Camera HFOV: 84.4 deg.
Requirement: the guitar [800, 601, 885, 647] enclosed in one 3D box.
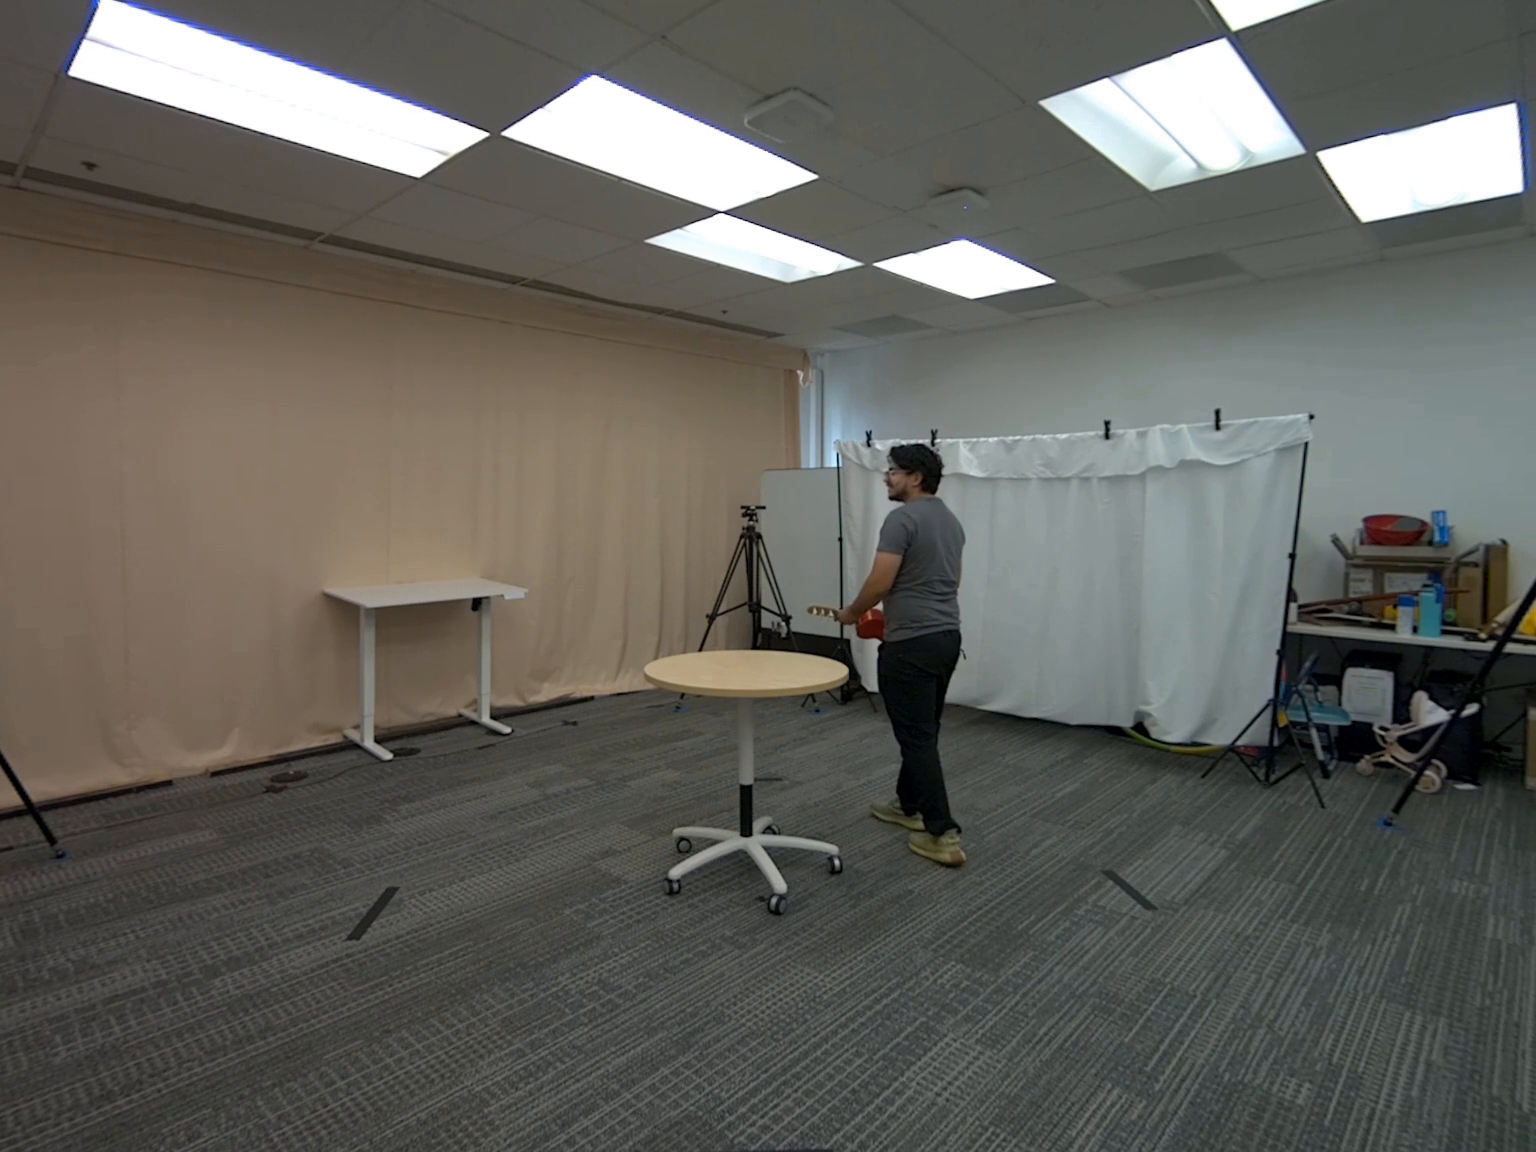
[{"bbox_3d":[0.403,0.213,3.667,0.495,0.072,0.190,4,-42,-4],"label":"guitar"}]
